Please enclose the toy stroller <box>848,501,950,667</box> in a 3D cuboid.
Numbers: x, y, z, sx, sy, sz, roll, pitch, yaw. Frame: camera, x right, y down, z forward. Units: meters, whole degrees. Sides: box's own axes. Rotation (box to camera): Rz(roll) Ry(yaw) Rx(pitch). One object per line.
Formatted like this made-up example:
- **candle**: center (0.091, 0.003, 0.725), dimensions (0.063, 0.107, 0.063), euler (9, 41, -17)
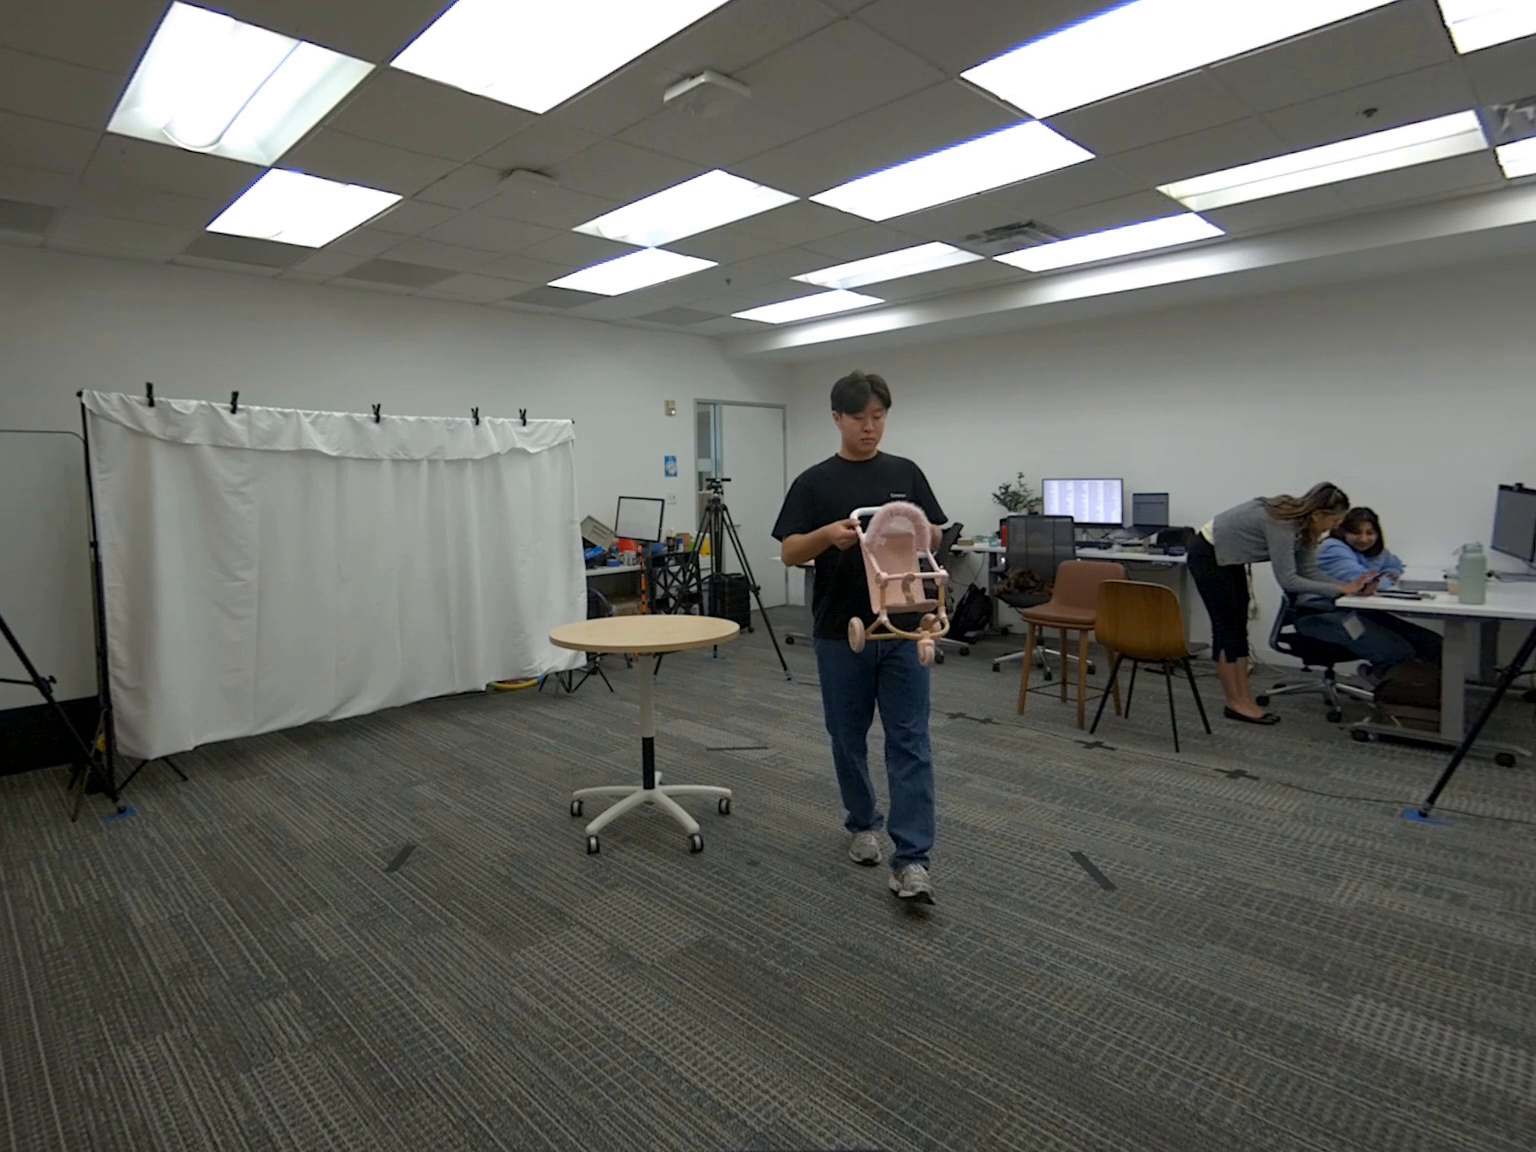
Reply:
- **toy stroller**: center (0.406, 0.017, 2.625), dimensions (0.279, 0.540, 0.340), euler (-2, -10, -9)
